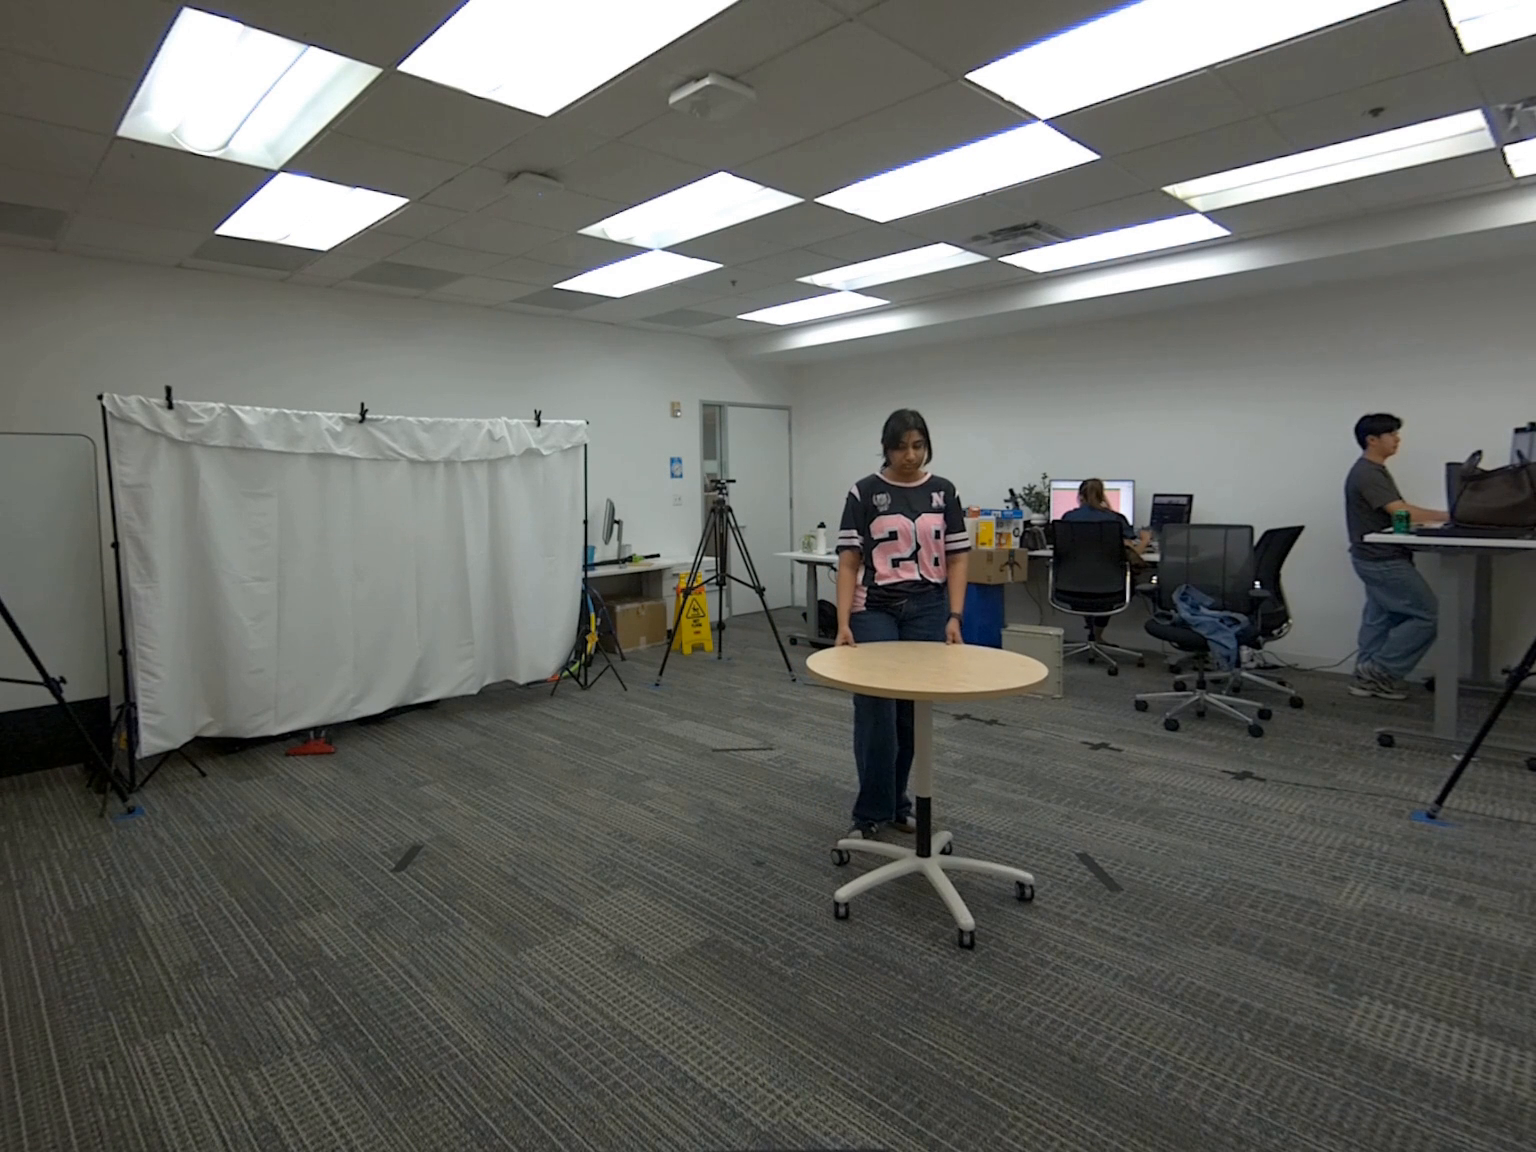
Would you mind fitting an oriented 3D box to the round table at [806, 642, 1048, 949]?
[{"bbox_3d":[0.509,0.684,2.820,0.763,0.791,0.768,-1,5,-2],"label":"round table"}]
